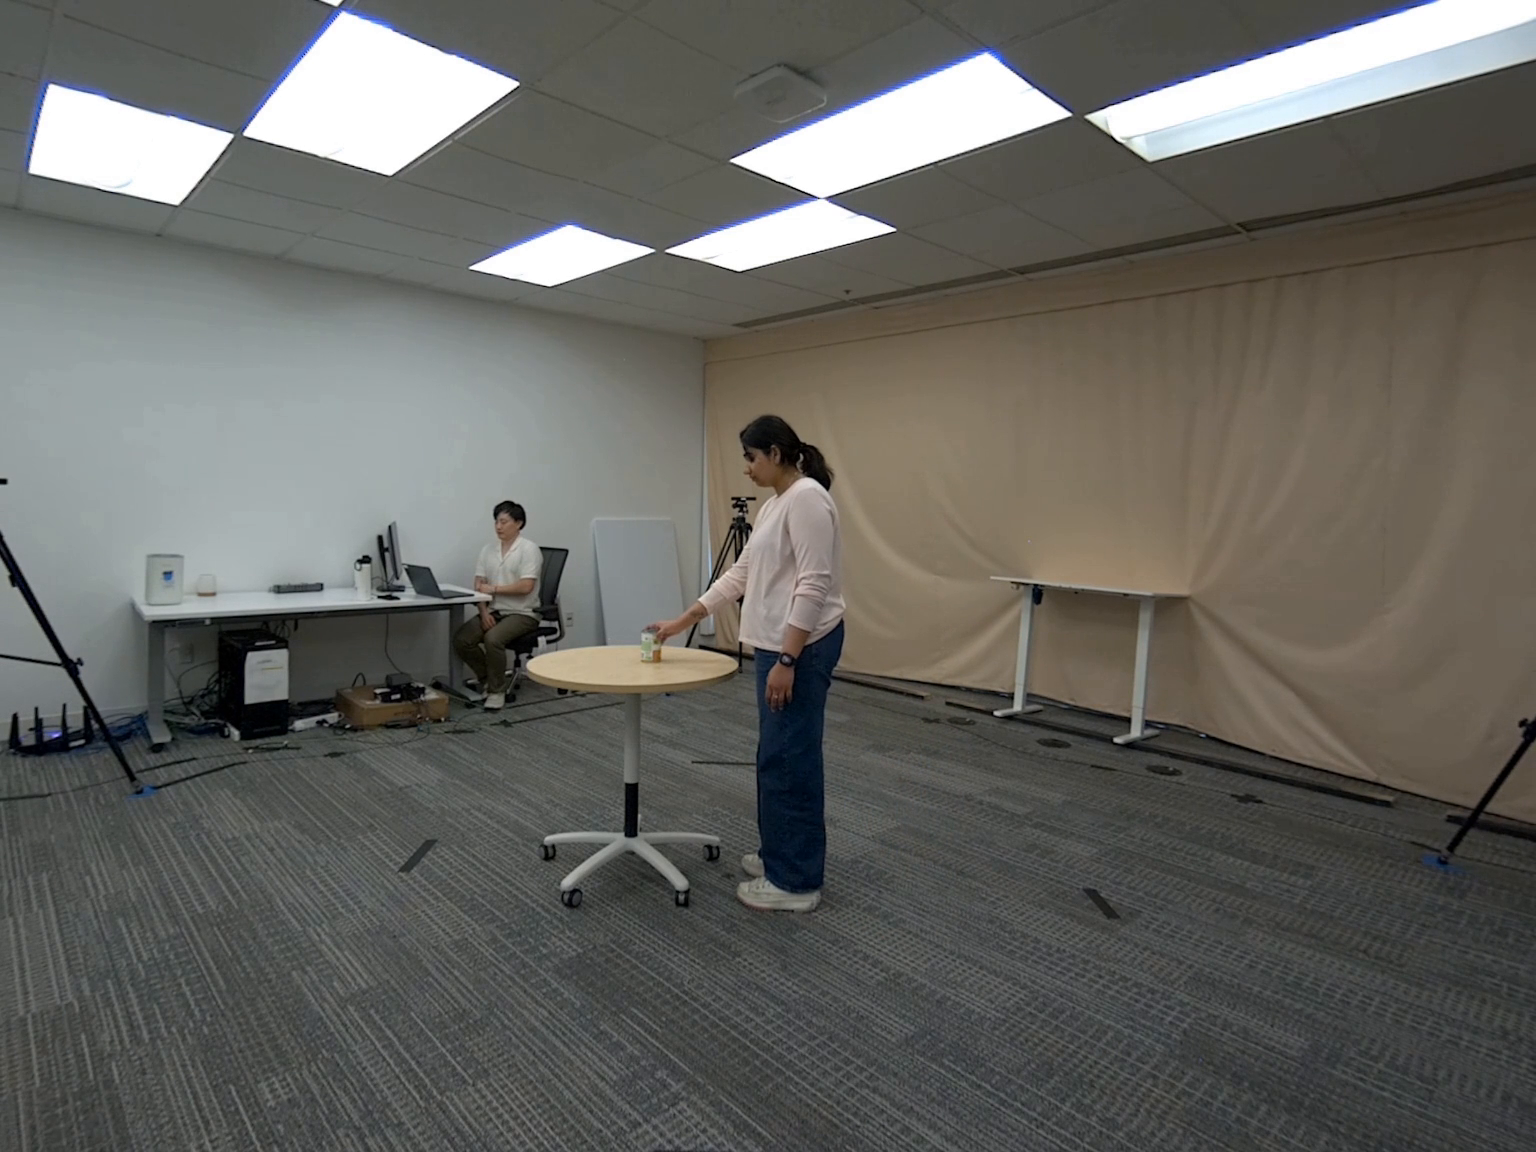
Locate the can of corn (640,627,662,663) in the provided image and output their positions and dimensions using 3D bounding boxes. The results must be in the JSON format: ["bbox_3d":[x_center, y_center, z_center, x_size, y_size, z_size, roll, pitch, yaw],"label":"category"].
[{"bbox_3d":[-0.435,0.258,3.110,0.074,0.111,0.074,2,3,-2],"label":"can of corn"}]
